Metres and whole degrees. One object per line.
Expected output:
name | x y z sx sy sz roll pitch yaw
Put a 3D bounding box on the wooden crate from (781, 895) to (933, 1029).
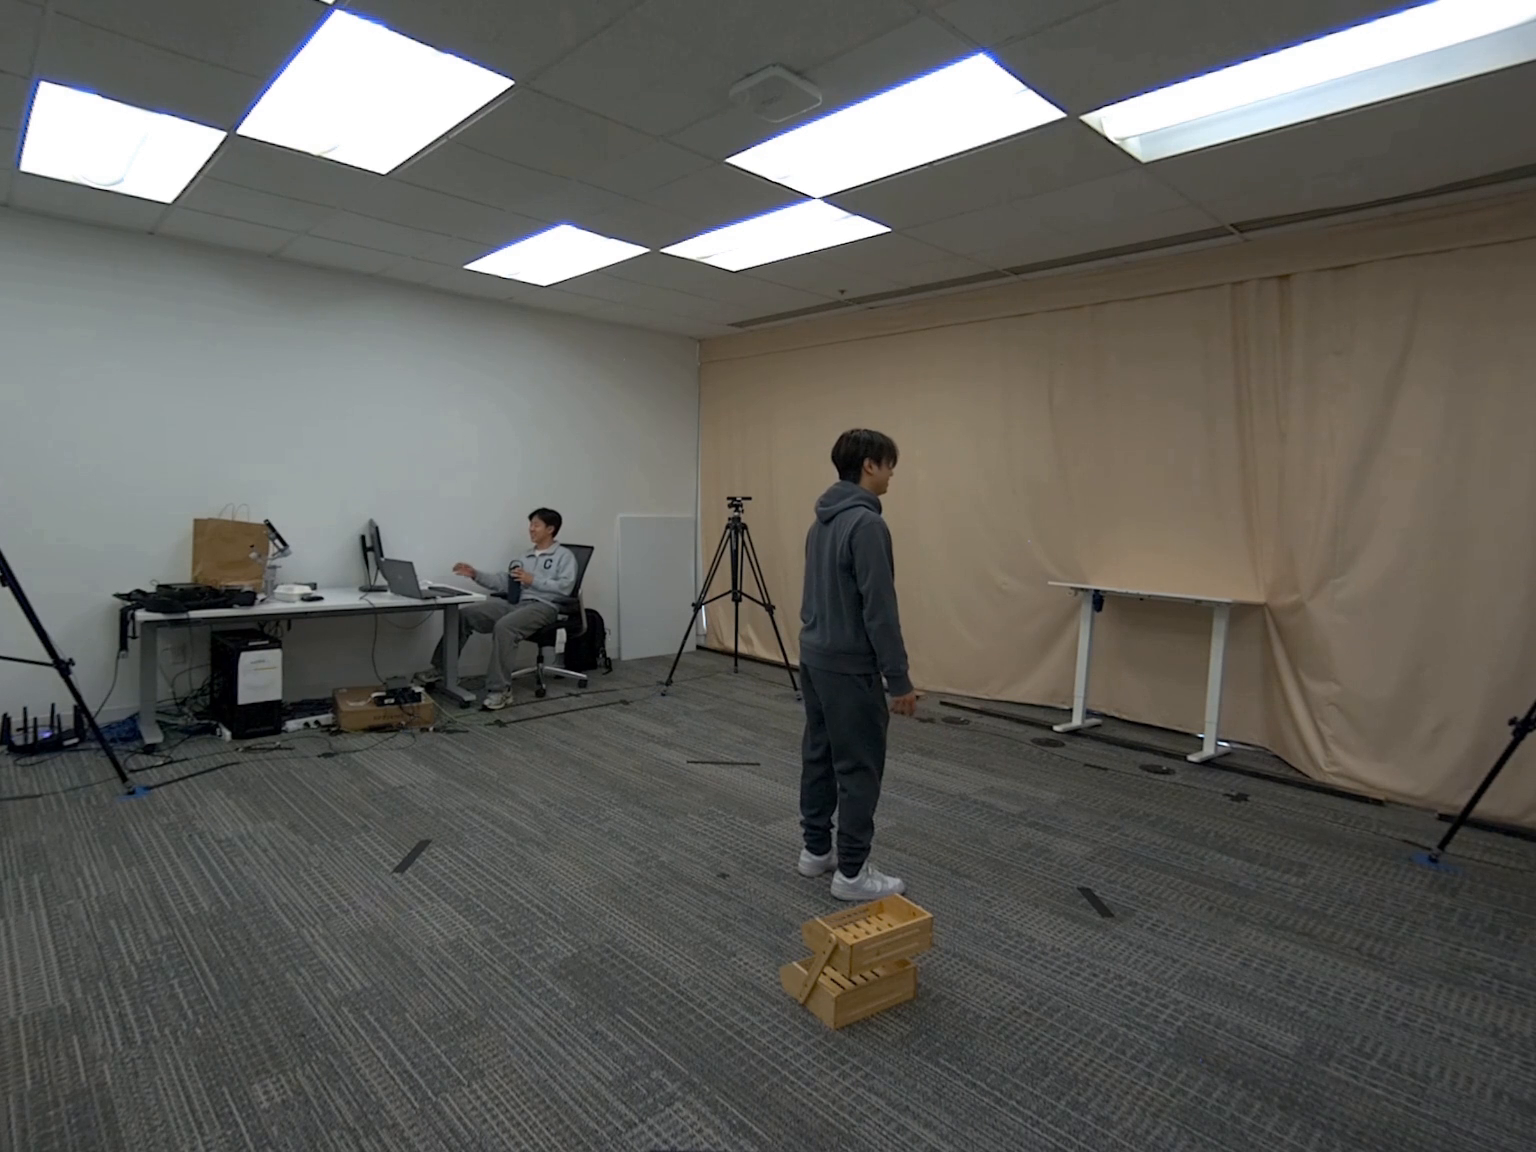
wooden crate | 0.235 1.048 2.369 0.317 0.272 0.309 -2 6 -34
